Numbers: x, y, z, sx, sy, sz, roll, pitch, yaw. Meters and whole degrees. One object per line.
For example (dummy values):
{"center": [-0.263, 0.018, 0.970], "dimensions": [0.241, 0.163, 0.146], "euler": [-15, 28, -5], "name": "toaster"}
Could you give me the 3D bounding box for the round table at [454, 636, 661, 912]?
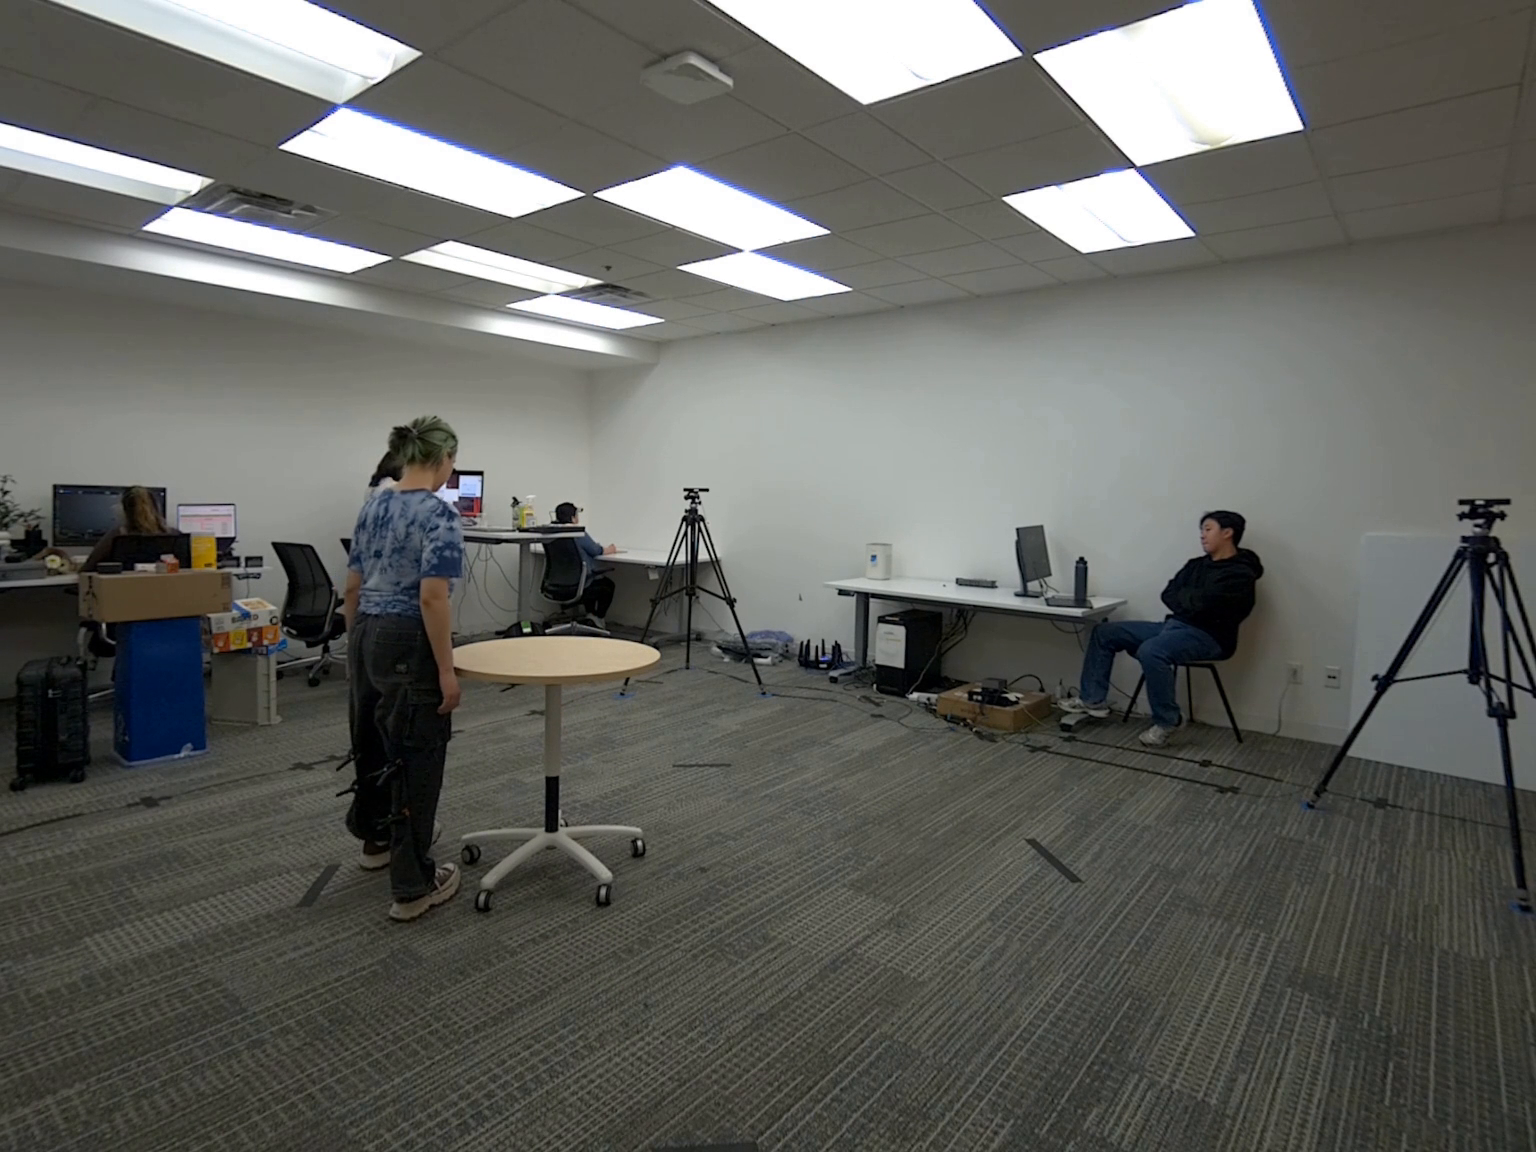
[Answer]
{"center": [-0.783, 0.673, 3.072], "dimensions": [0.763, 0.792, 0.767], "euler": [1, 4, -2], "name": "round table"}
